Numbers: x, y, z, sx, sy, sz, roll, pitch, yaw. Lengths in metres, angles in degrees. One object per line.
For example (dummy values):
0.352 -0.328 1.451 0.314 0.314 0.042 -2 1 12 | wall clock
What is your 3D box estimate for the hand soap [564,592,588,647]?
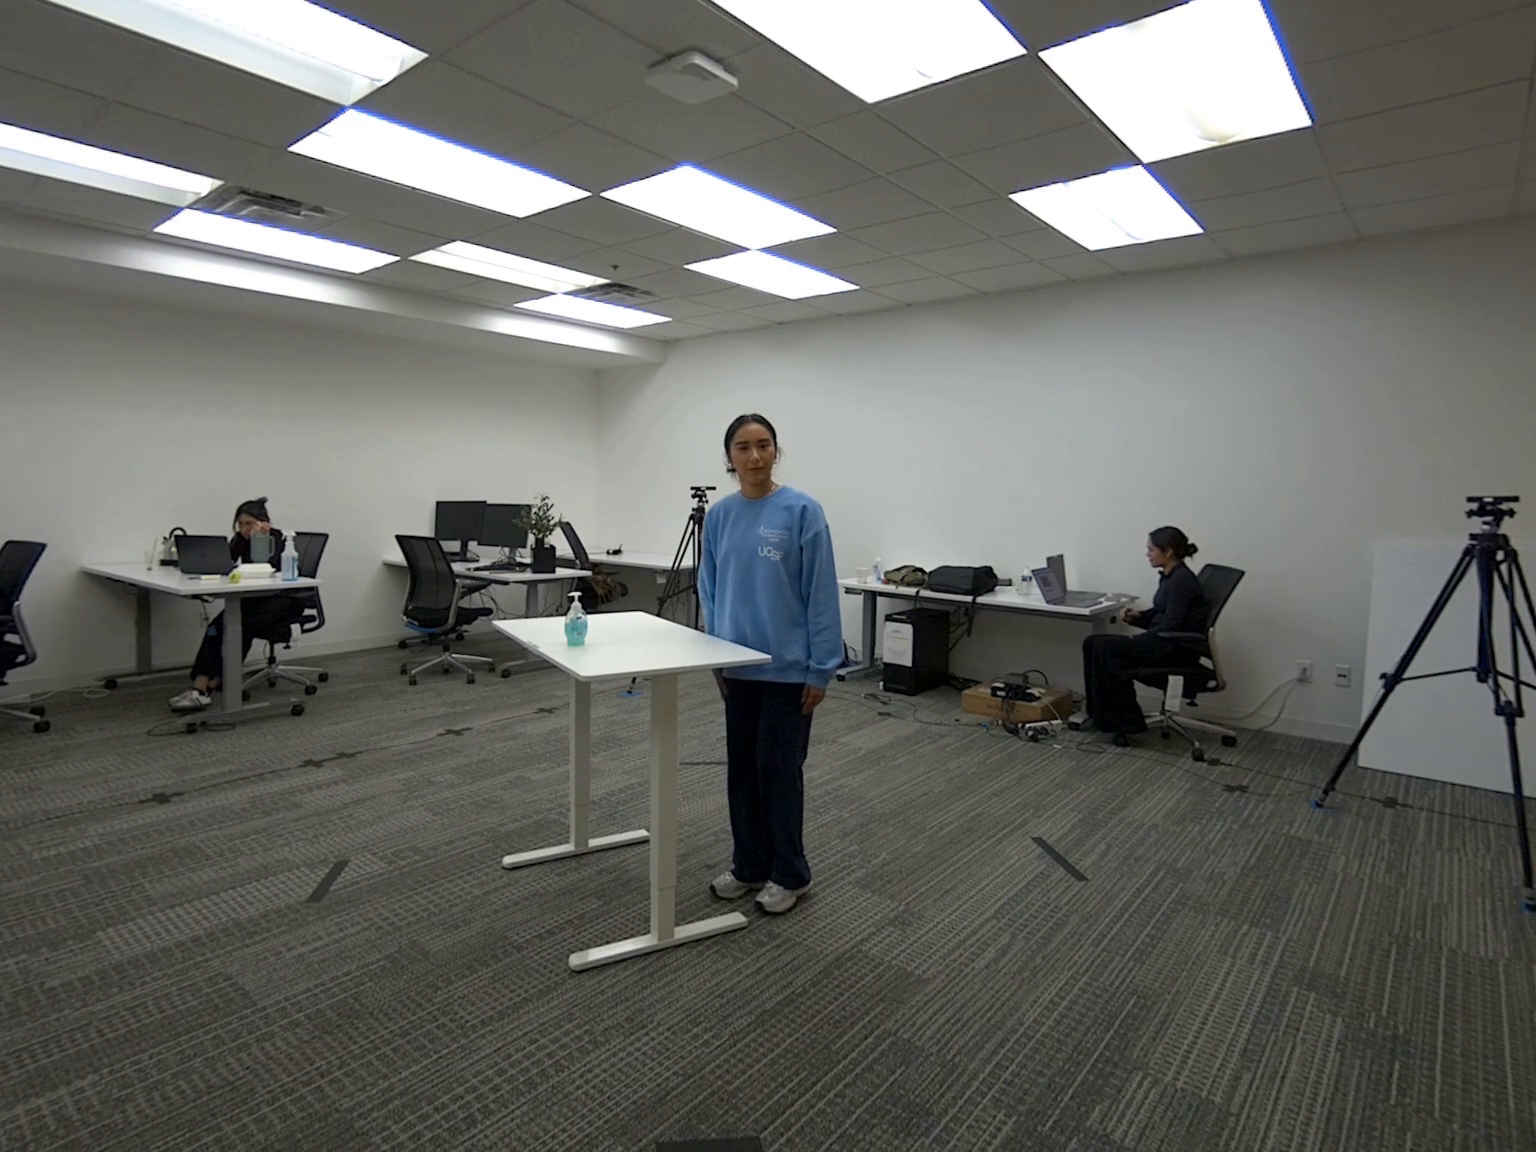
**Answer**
-0.626 0.135 2.710 0.045 0.167 0.082 4 5 40 | hand soap
